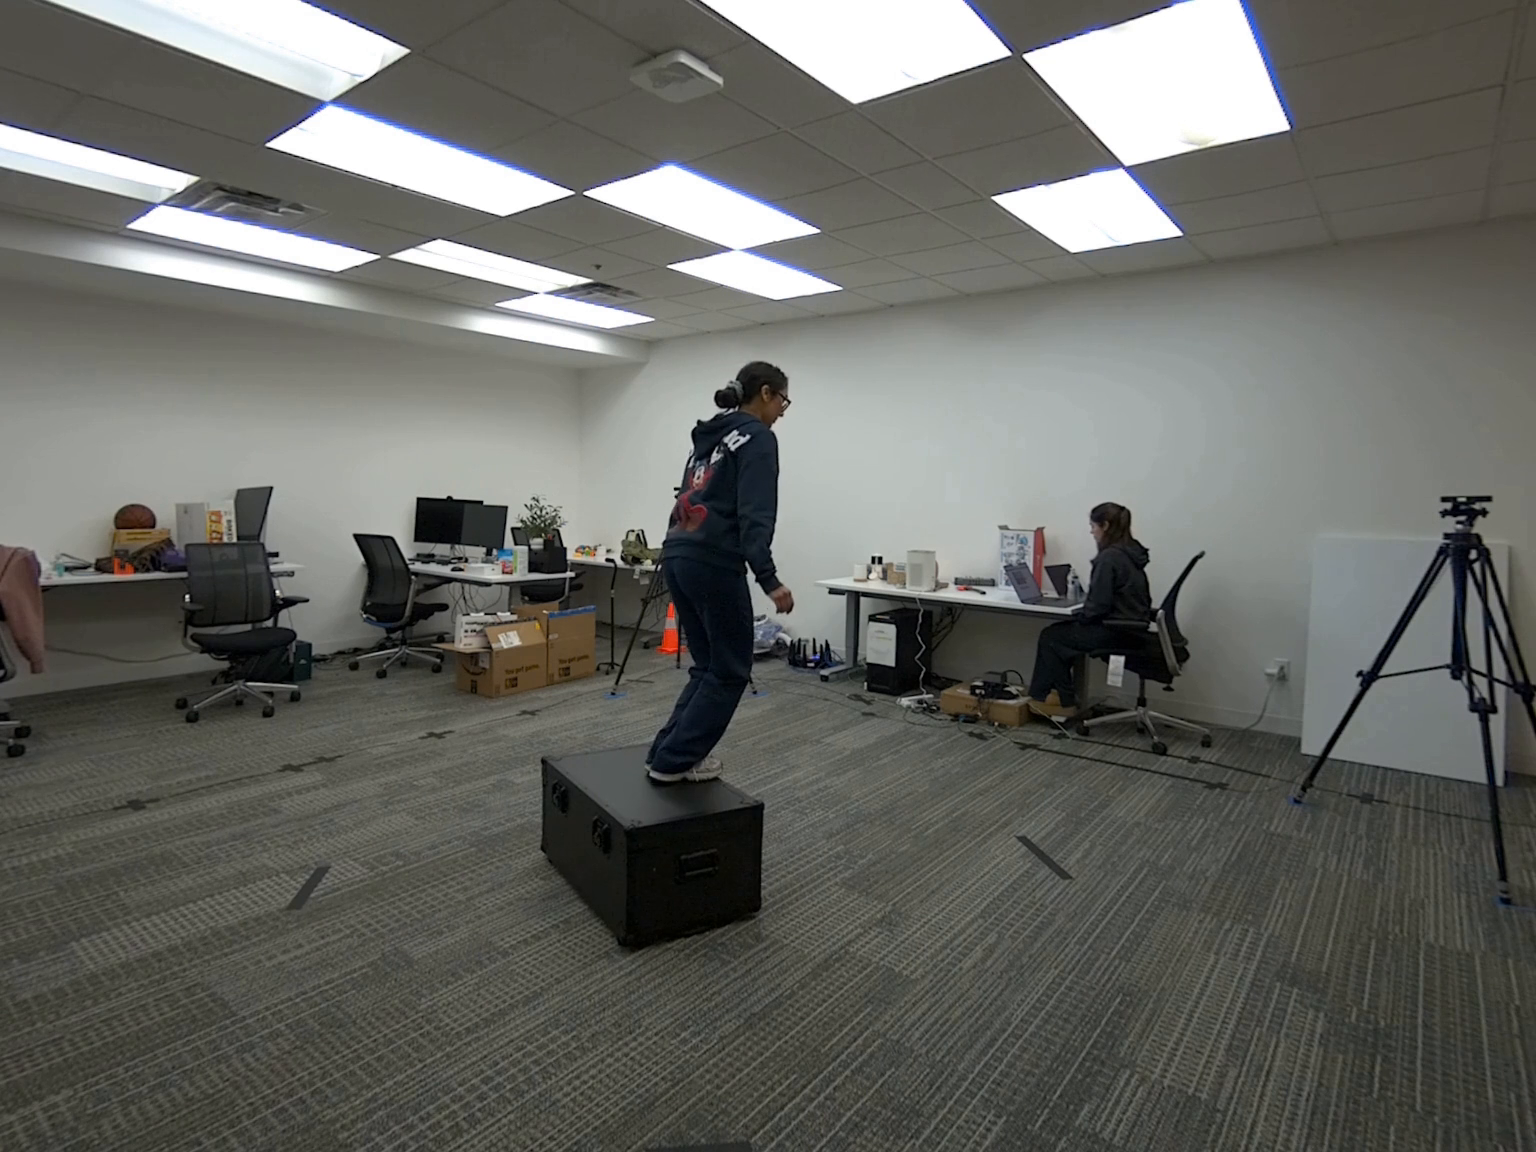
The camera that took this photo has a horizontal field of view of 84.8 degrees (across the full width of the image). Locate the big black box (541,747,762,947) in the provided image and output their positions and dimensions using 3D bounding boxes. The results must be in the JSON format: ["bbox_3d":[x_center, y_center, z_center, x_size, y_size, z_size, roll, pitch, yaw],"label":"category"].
[{"bbox_3d":[-0.471,0.895,2.986,0.384,0.520,0.890,0,4,-35],"label":"big black box"}]
